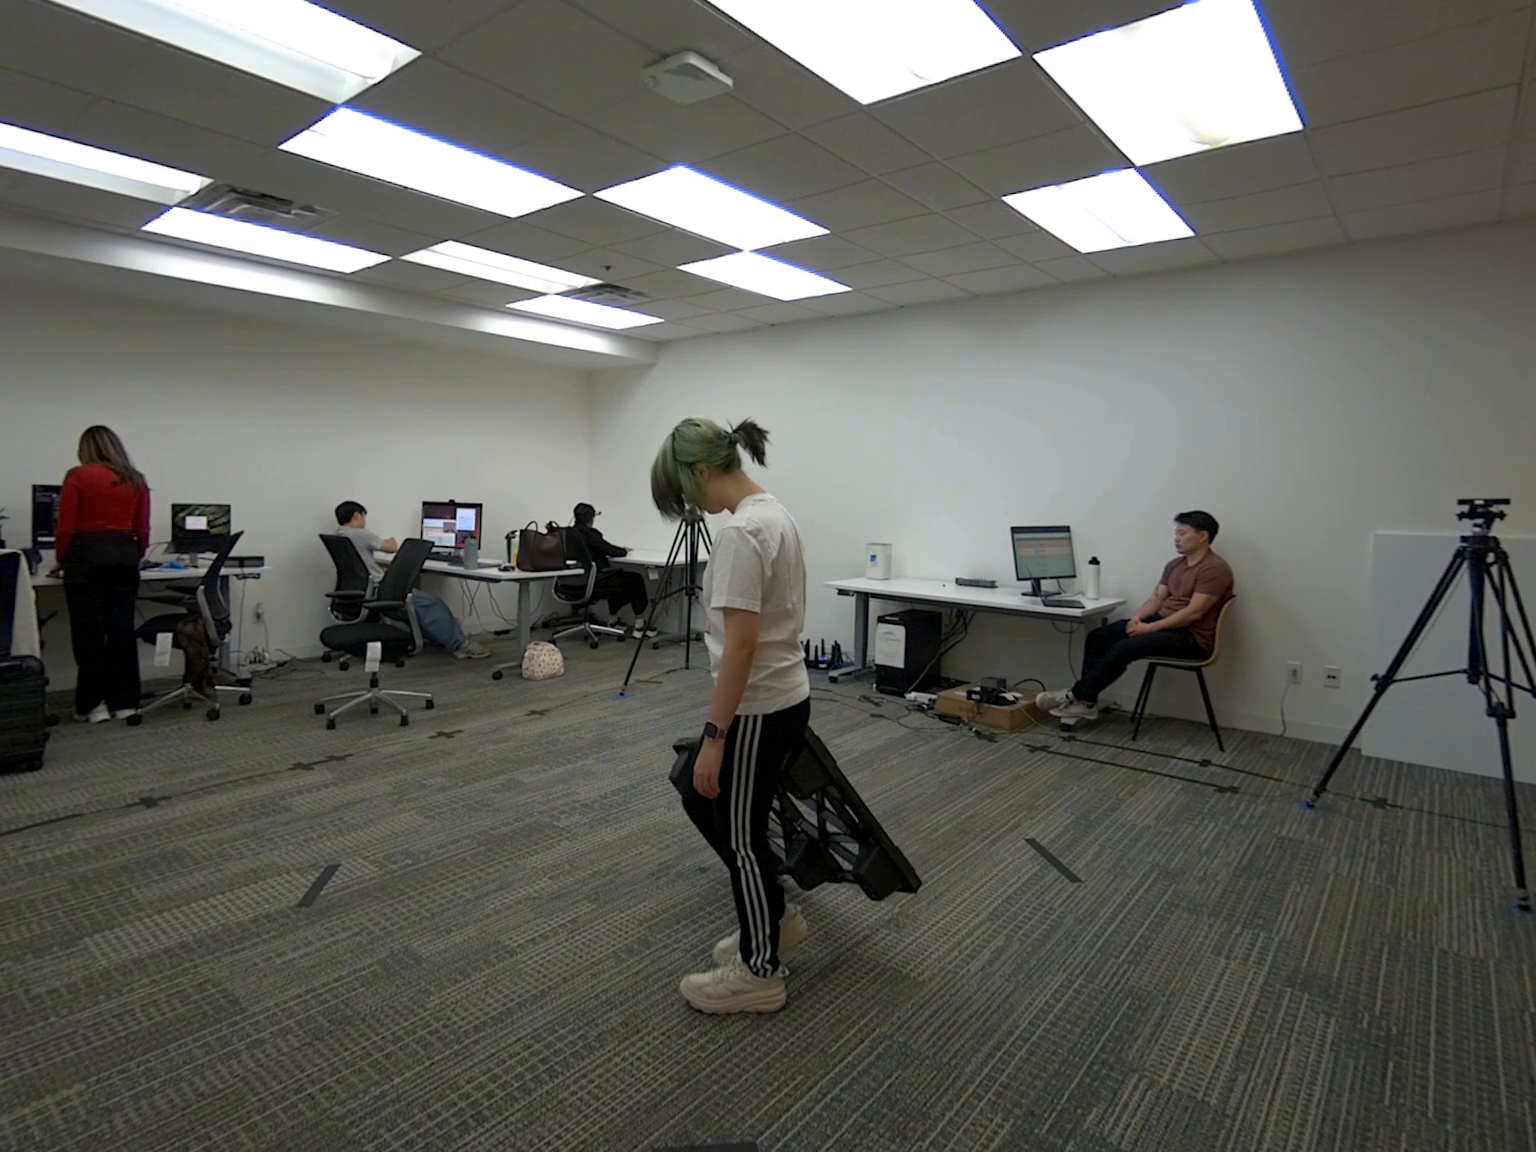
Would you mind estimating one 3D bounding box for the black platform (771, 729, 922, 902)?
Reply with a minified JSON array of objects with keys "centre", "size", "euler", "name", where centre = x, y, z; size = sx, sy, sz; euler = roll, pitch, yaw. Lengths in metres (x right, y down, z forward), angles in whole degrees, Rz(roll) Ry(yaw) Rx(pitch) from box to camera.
[{"centre":[0.020,0.773,2.725],"size":[0.142,0.600,0.818],"euler":[-38,8,-35],"name":"black platform"}]
